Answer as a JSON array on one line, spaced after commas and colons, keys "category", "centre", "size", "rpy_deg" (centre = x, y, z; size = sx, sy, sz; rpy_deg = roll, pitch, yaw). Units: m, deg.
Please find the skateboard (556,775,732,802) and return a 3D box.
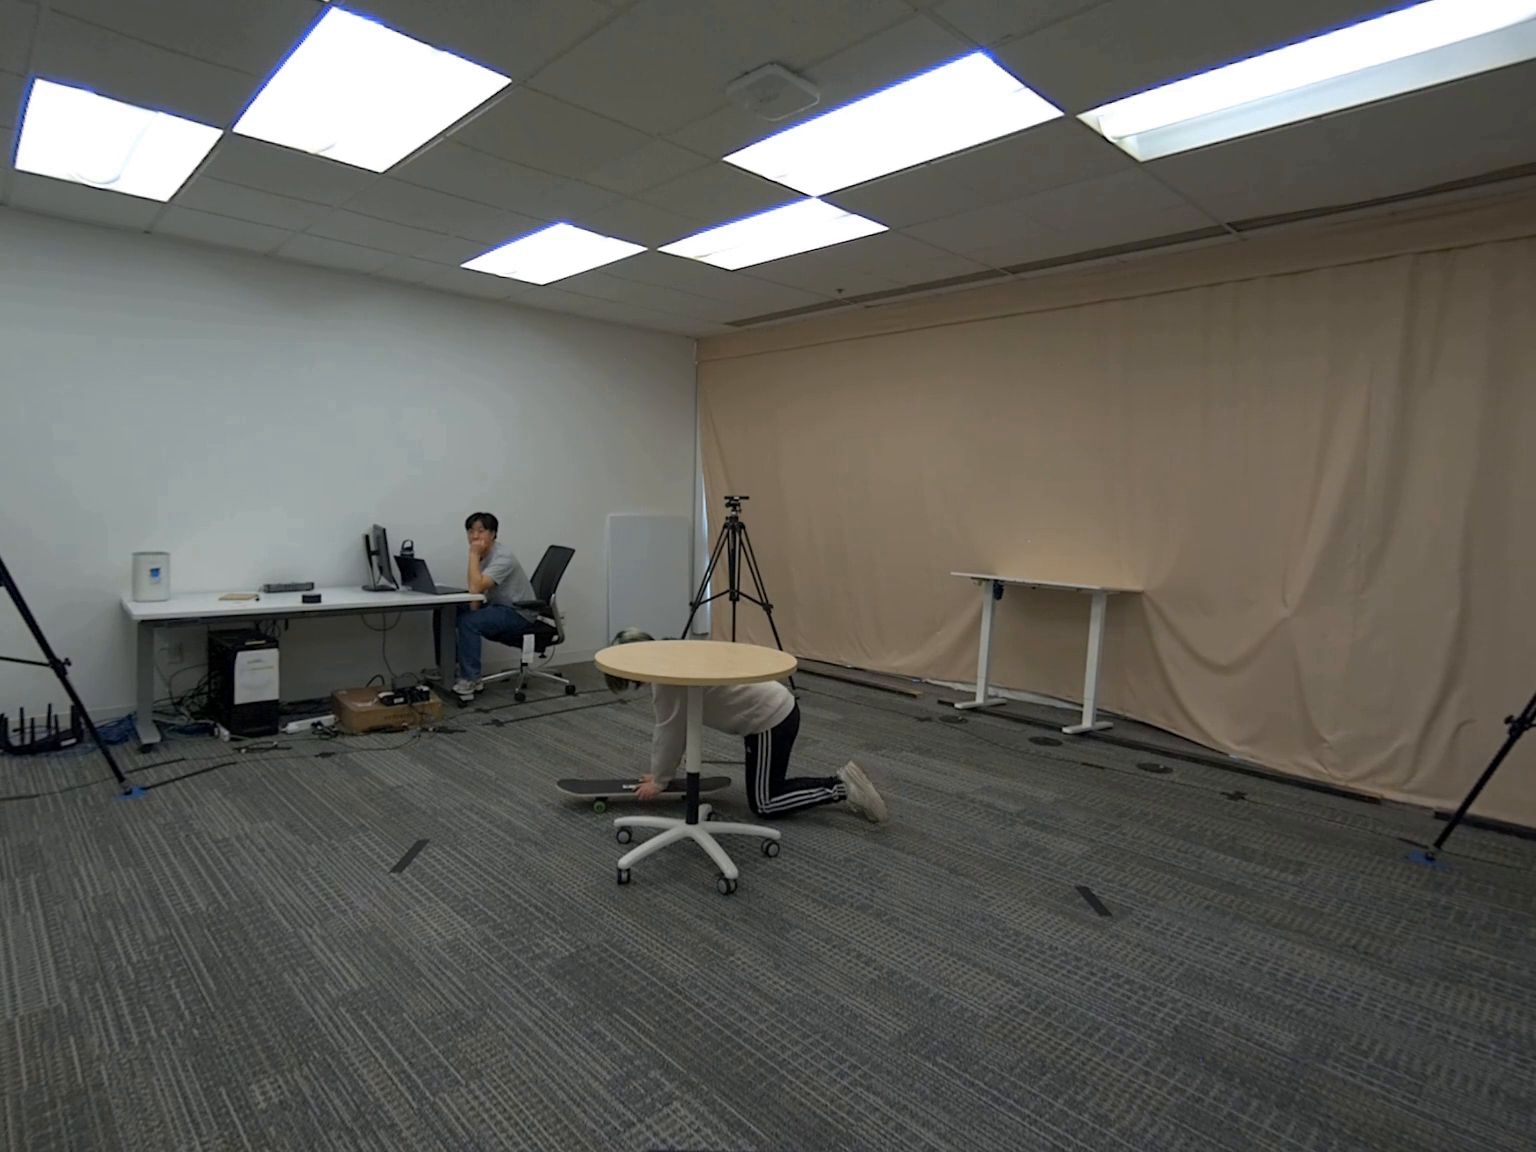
[{"category": "skateboard", "centre": [-0.563, 0.969, 3.788], "size": [0.780, 0.110, 0.195], "rpy_deg": [1, 5, -8]}]
